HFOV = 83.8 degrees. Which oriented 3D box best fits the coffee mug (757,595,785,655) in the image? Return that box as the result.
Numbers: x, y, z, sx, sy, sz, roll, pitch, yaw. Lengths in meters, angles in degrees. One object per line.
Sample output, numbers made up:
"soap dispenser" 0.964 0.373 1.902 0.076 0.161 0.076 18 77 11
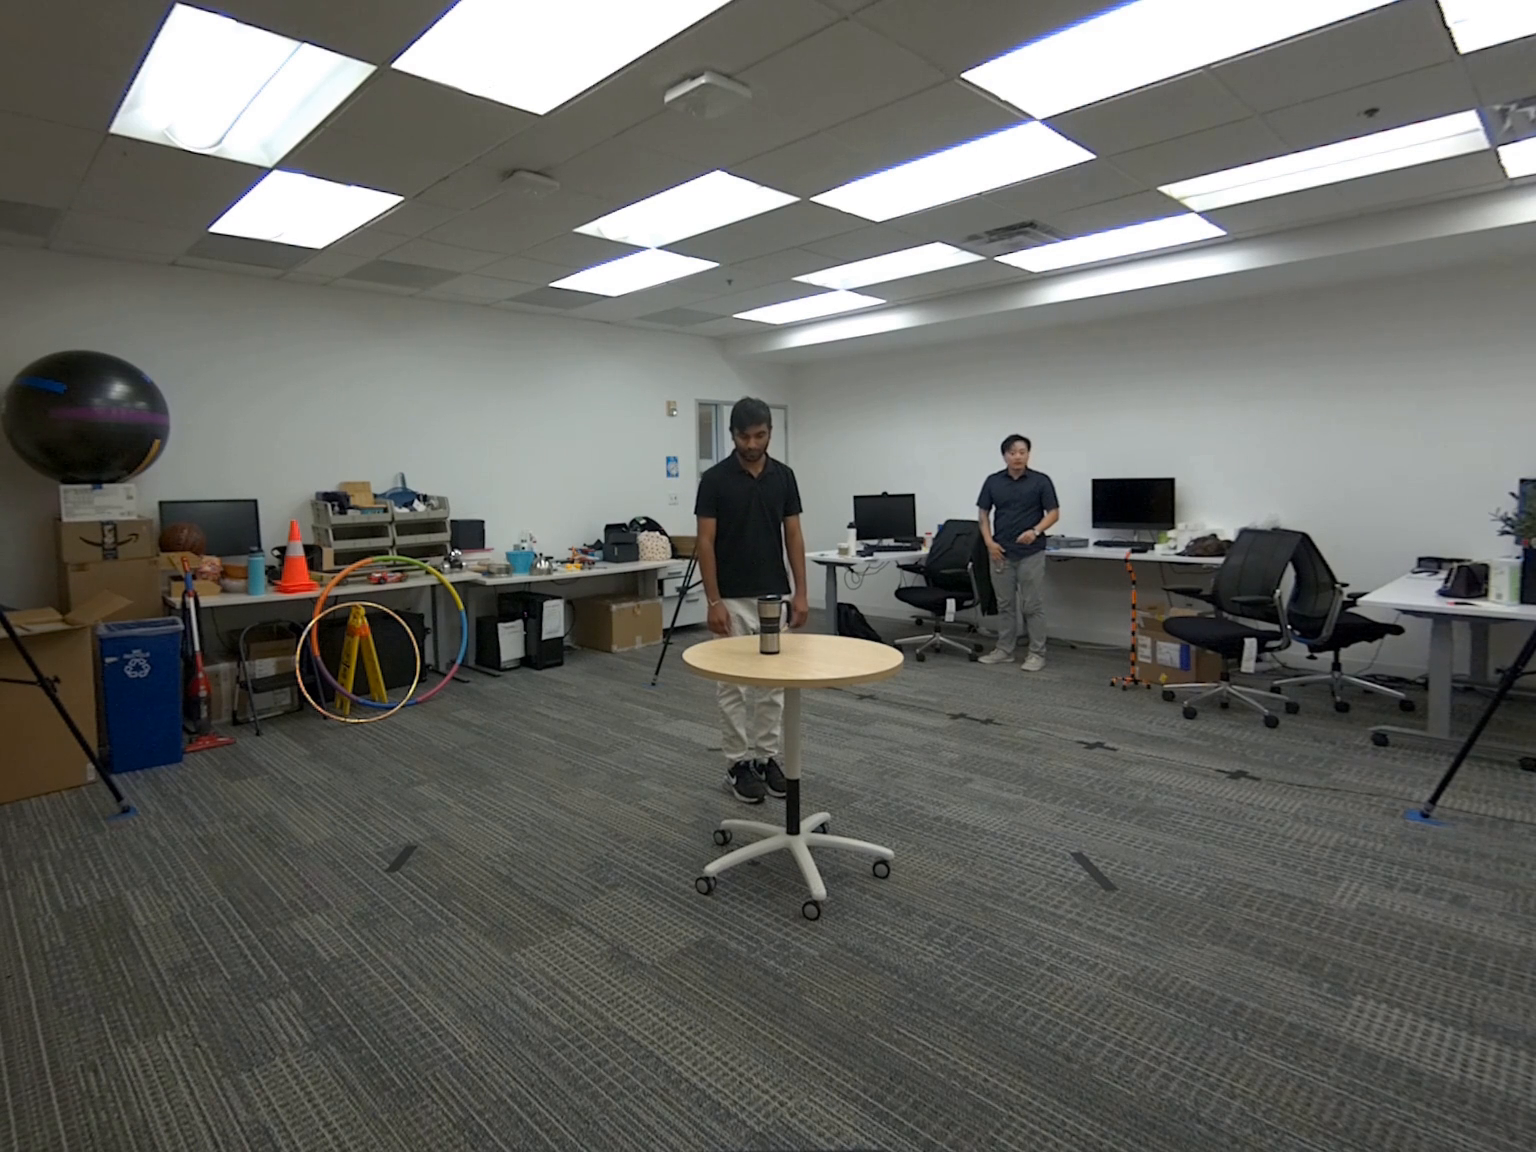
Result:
"coffee mug" 0.020 0.177 2.985 0.085 0.204 0.125 4 -4 -32
